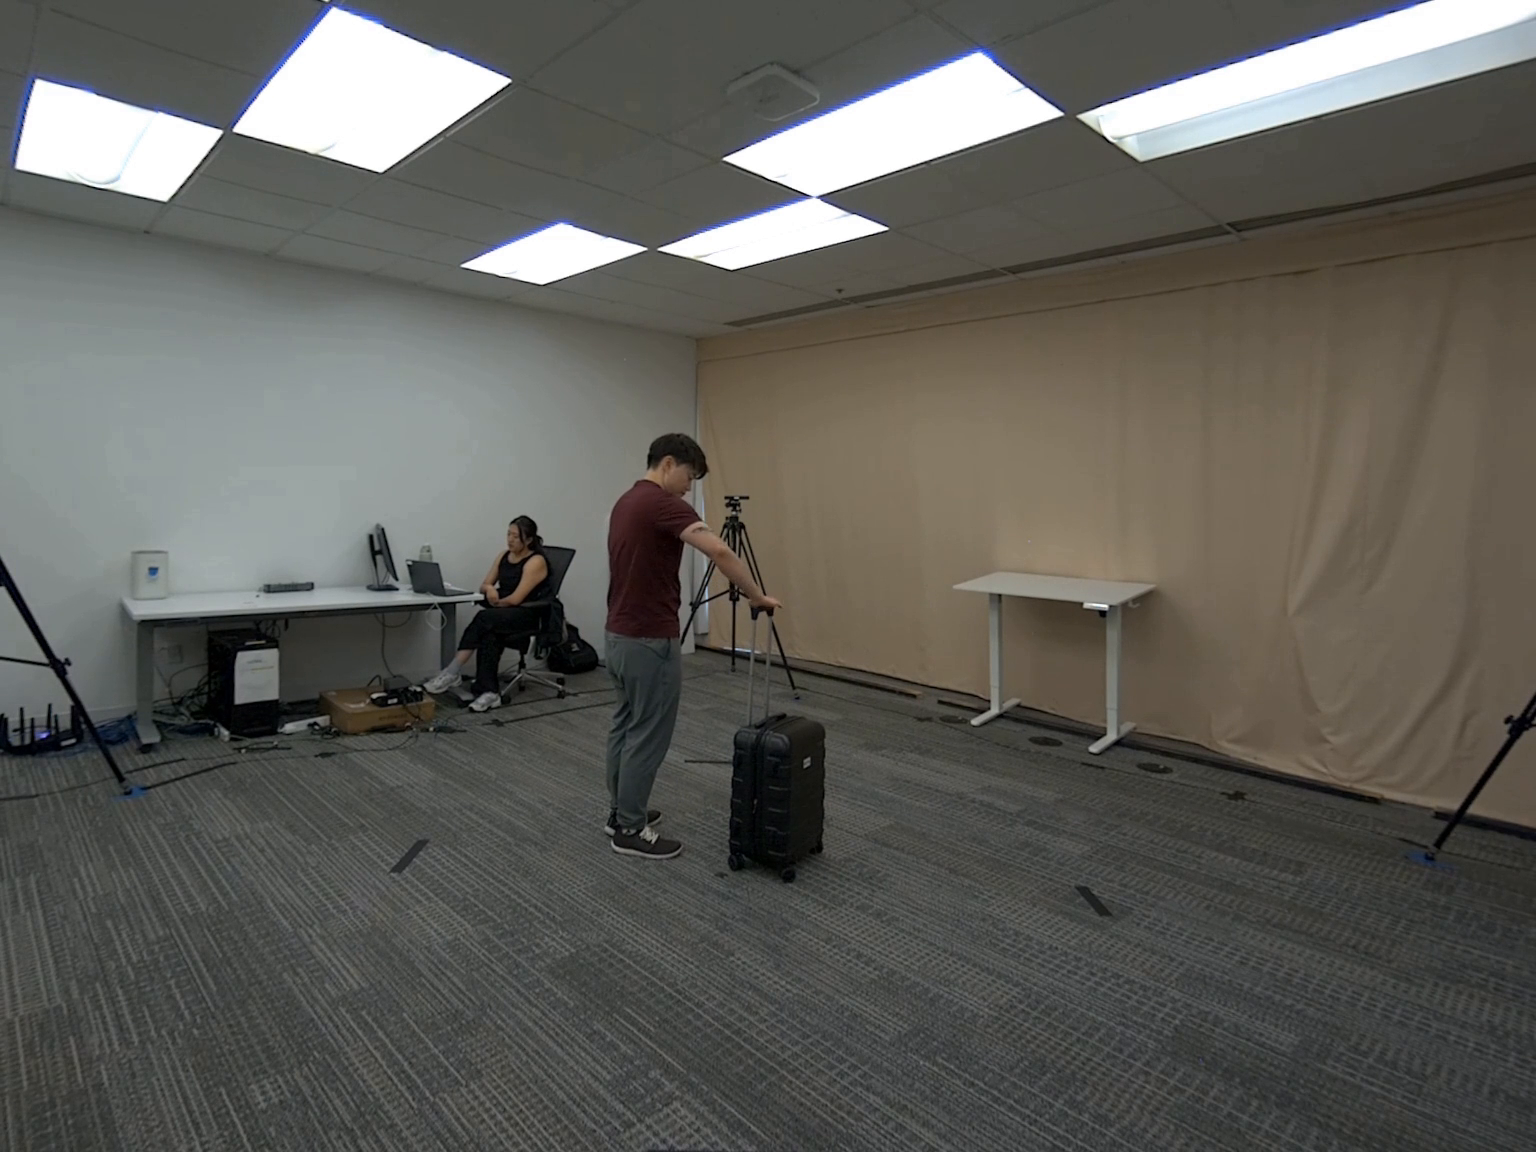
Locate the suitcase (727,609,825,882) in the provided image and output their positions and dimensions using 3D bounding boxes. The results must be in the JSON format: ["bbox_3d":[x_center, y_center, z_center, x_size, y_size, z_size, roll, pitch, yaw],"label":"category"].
[{"bbox_3d":[0.048,0.622,3.217,0.263,0.977,0.375,6,3,34],"label":"suitcase"}]
